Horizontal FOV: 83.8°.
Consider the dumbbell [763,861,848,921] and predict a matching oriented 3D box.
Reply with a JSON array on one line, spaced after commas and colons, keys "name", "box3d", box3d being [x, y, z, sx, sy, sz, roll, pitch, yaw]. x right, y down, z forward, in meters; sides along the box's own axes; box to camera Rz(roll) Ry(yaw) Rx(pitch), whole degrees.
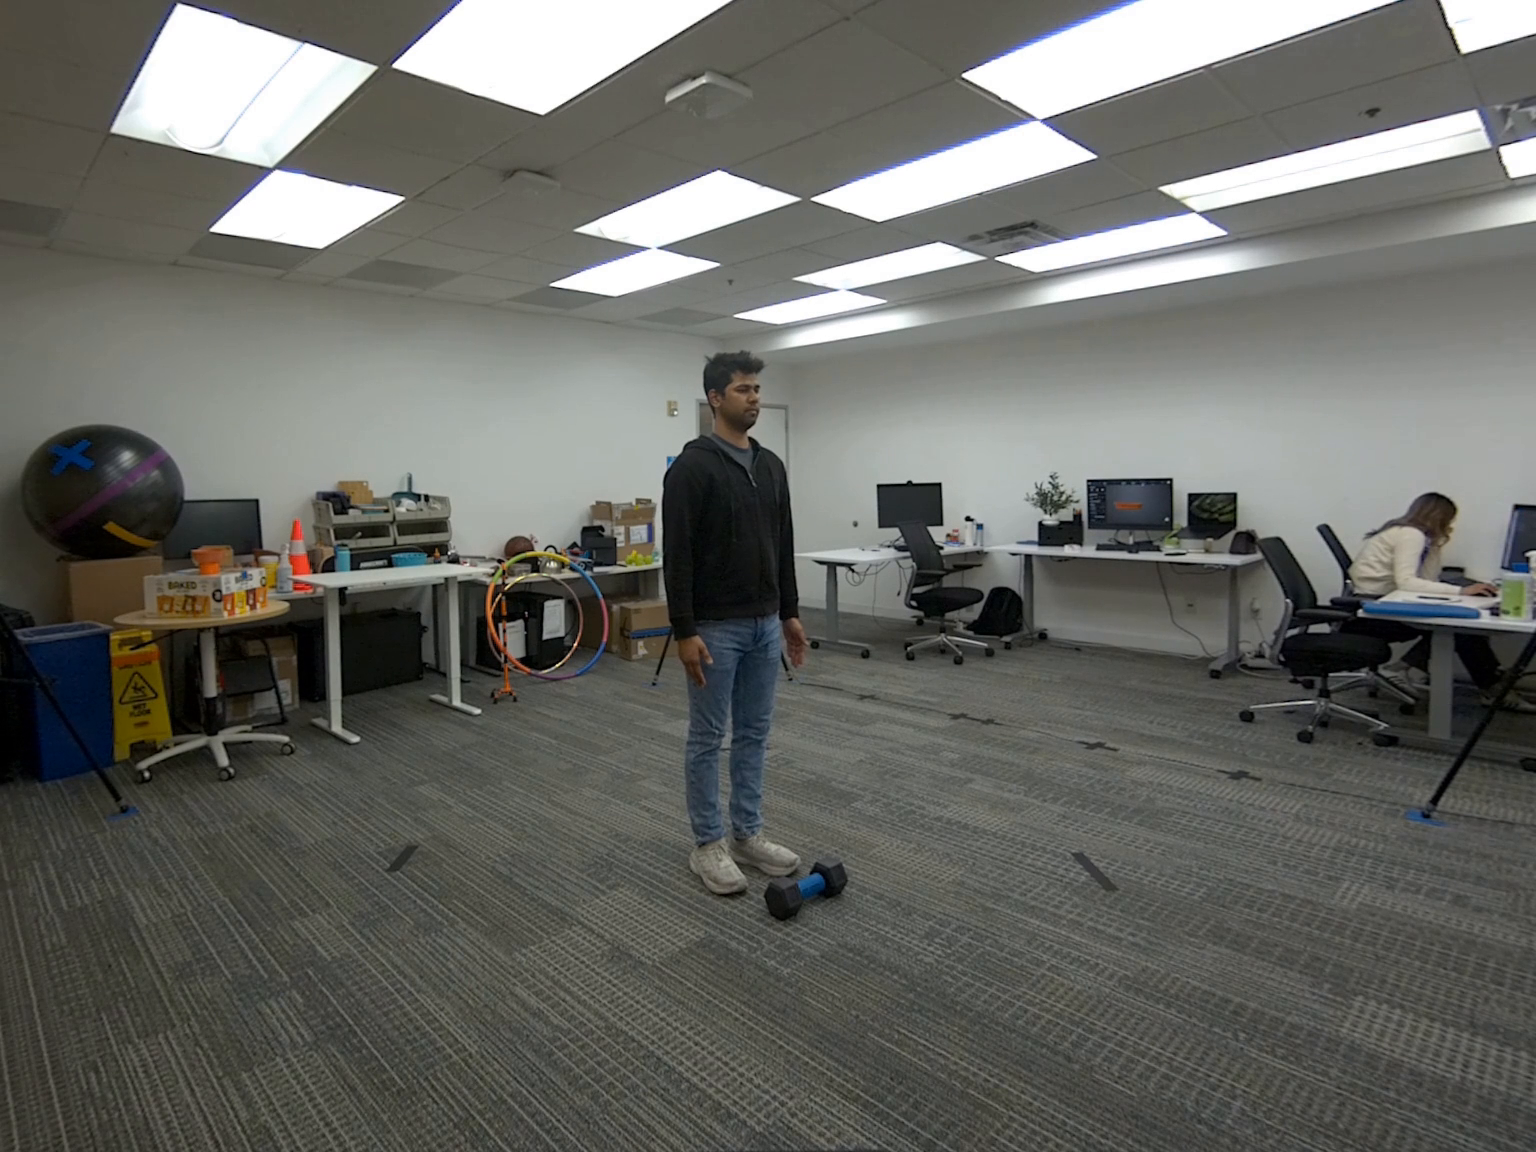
[{"name": "dumbbell", "box3d": [0.134, 1.023, 2.801, 0.286, 0.121, 0.113, -7, 38, -42]}]
